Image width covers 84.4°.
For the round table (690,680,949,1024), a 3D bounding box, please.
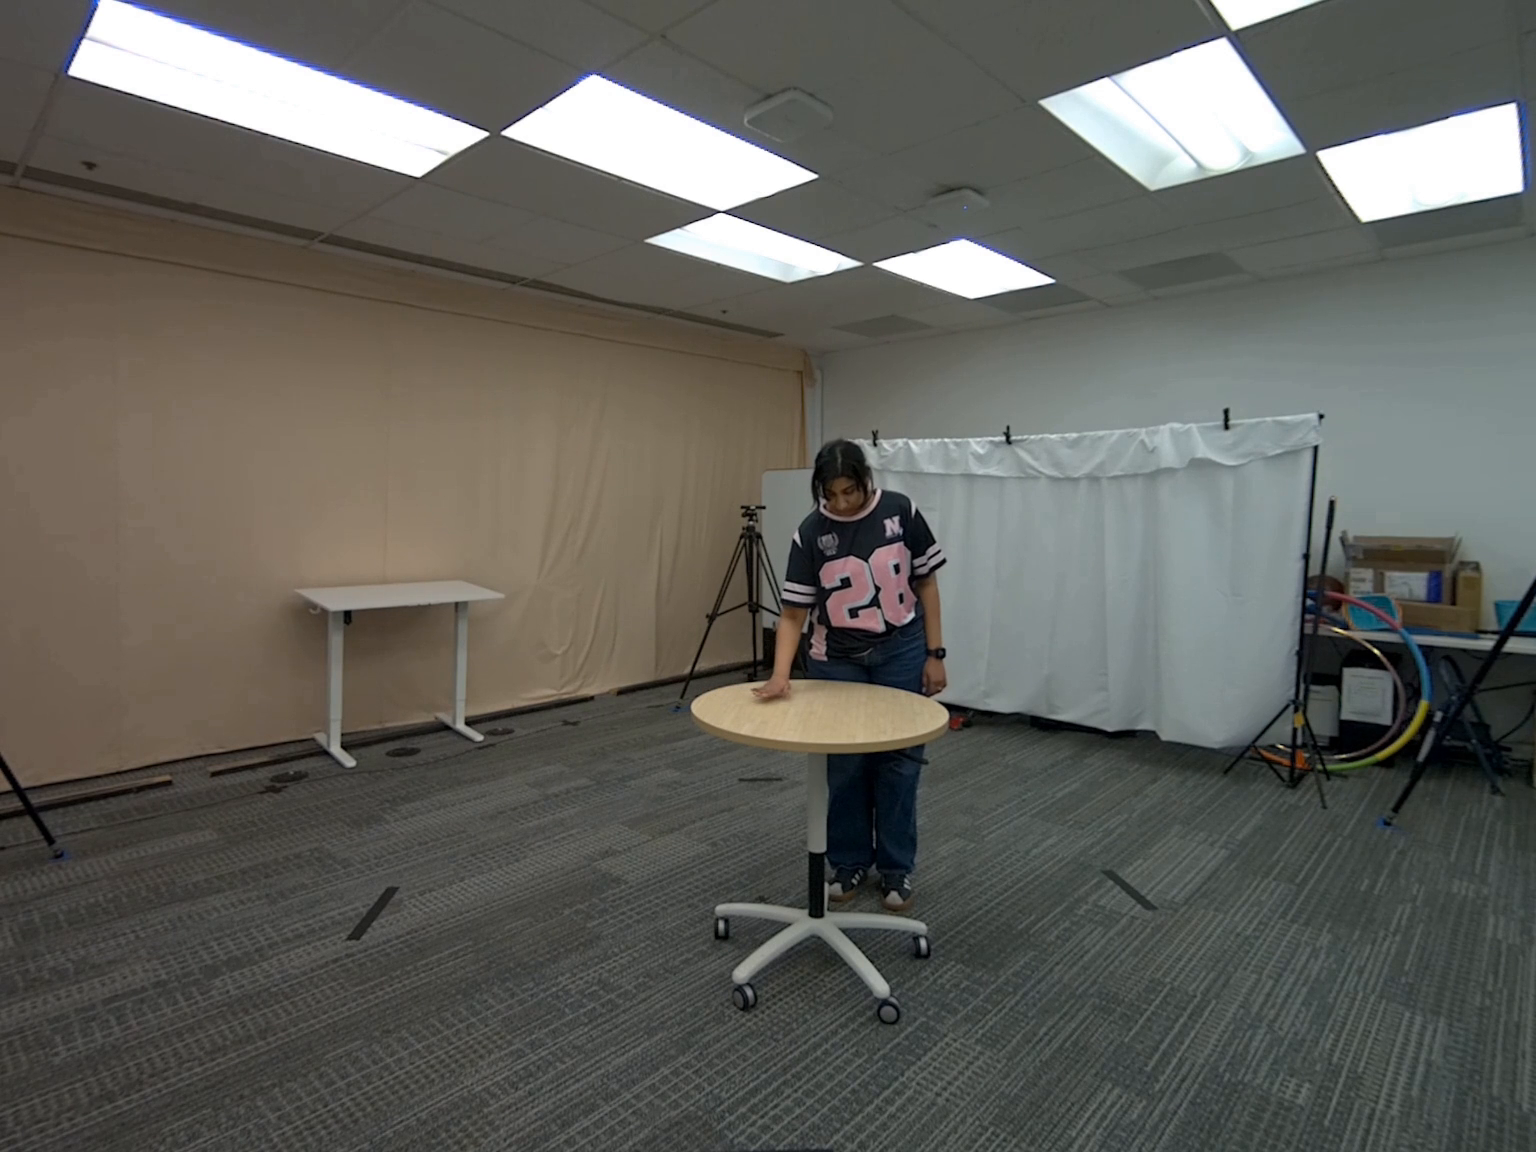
[{"bbox_3d":[0.162,0.789,2.550,0.784,0.785,0.788,0,4,-2],"label":"round table"}]
